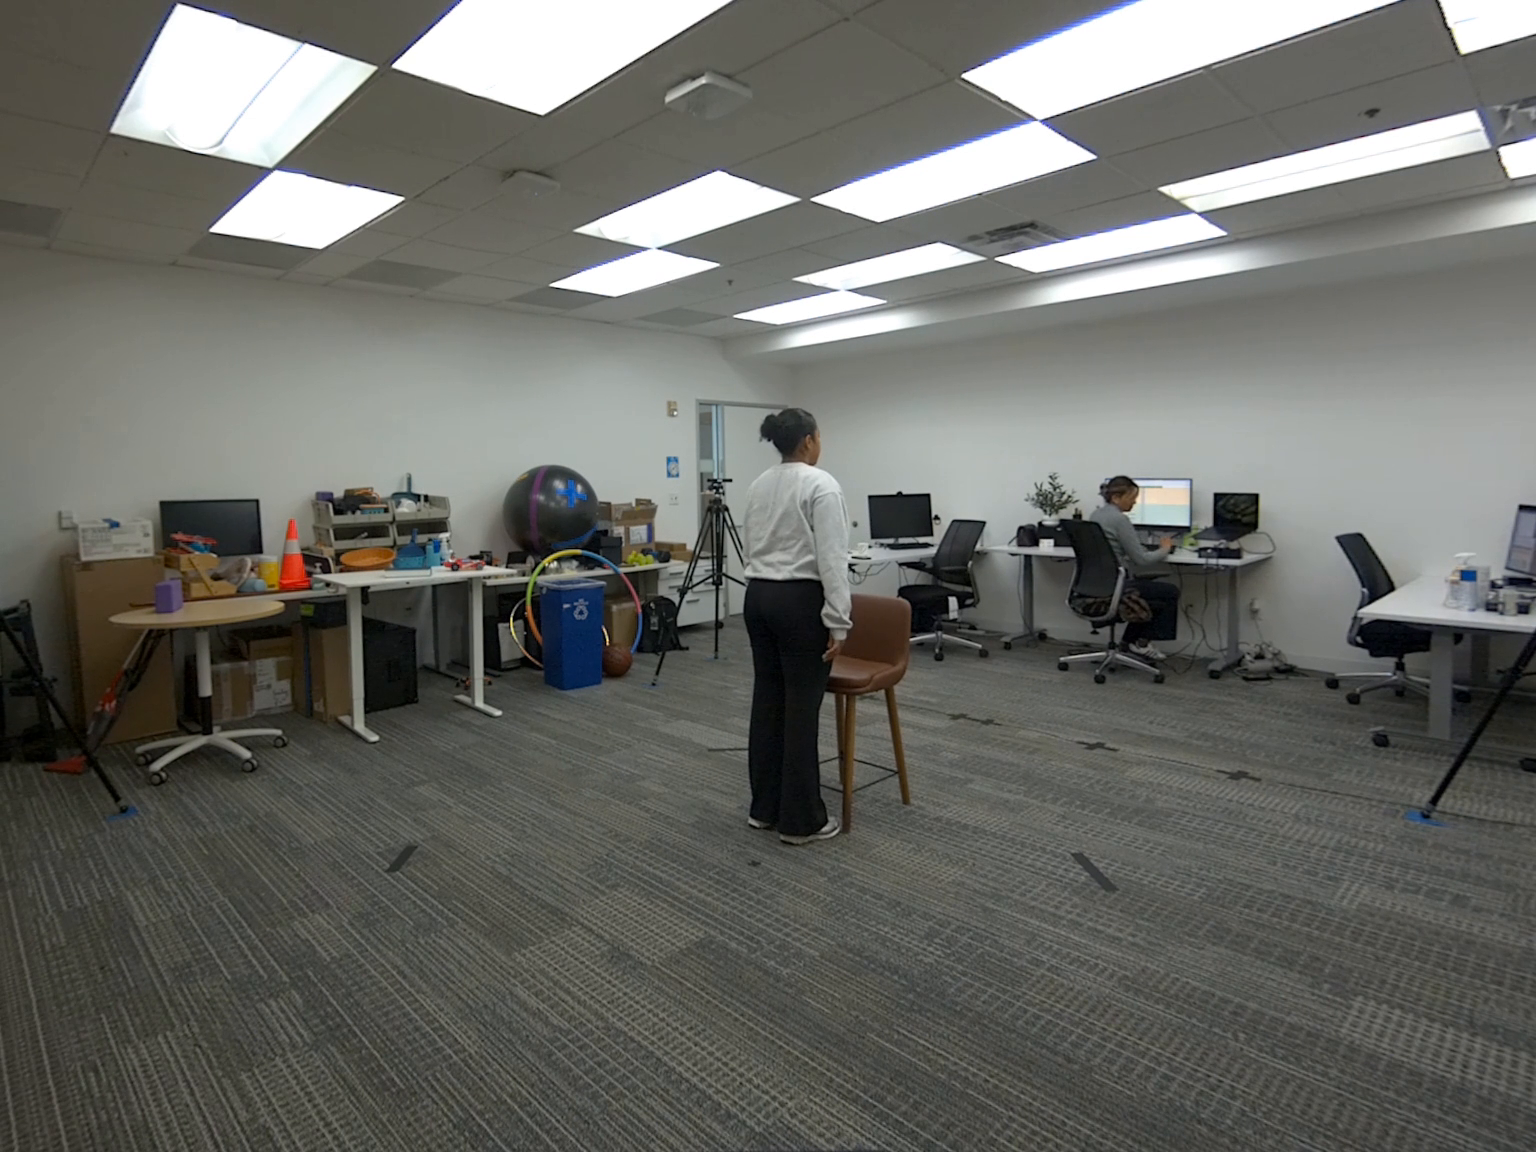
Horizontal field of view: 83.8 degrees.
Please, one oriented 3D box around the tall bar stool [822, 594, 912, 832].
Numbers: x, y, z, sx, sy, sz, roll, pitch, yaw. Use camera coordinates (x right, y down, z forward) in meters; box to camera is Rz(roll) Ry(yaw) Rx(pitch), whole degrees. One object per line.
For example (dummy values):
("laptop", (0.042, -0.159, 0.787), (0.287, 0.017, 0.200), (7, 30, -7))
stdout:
("tall bar stool", (0.326, 0.541, 3.626), (0.454, 0.887, 0.471), (-2, 4, -44))
